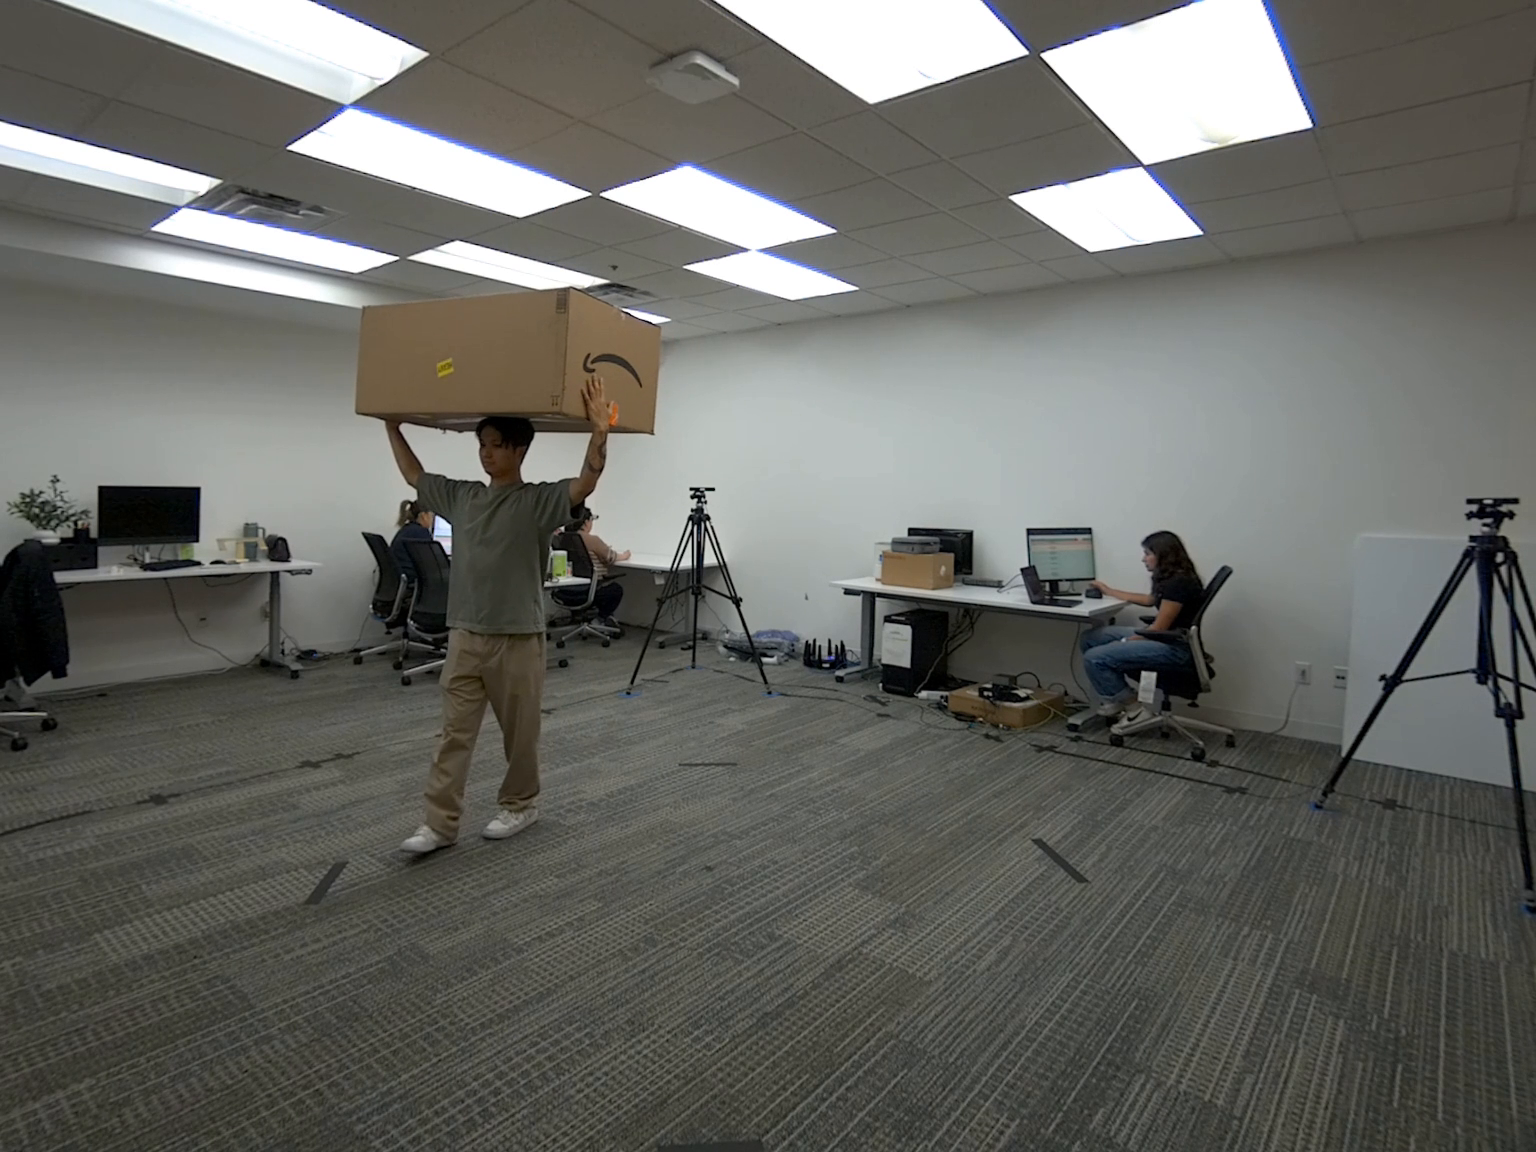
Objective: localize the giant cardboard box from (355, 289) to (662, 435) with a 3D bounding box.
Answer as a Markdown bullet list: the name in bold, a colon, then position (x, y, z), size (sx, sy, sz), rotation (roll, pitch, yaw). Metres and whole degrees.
- **giant cardboard box**: position (-1.023, -0.800, 3.311), size (1.055, 0.426, 0.562), rotation (5, 3, 27)
